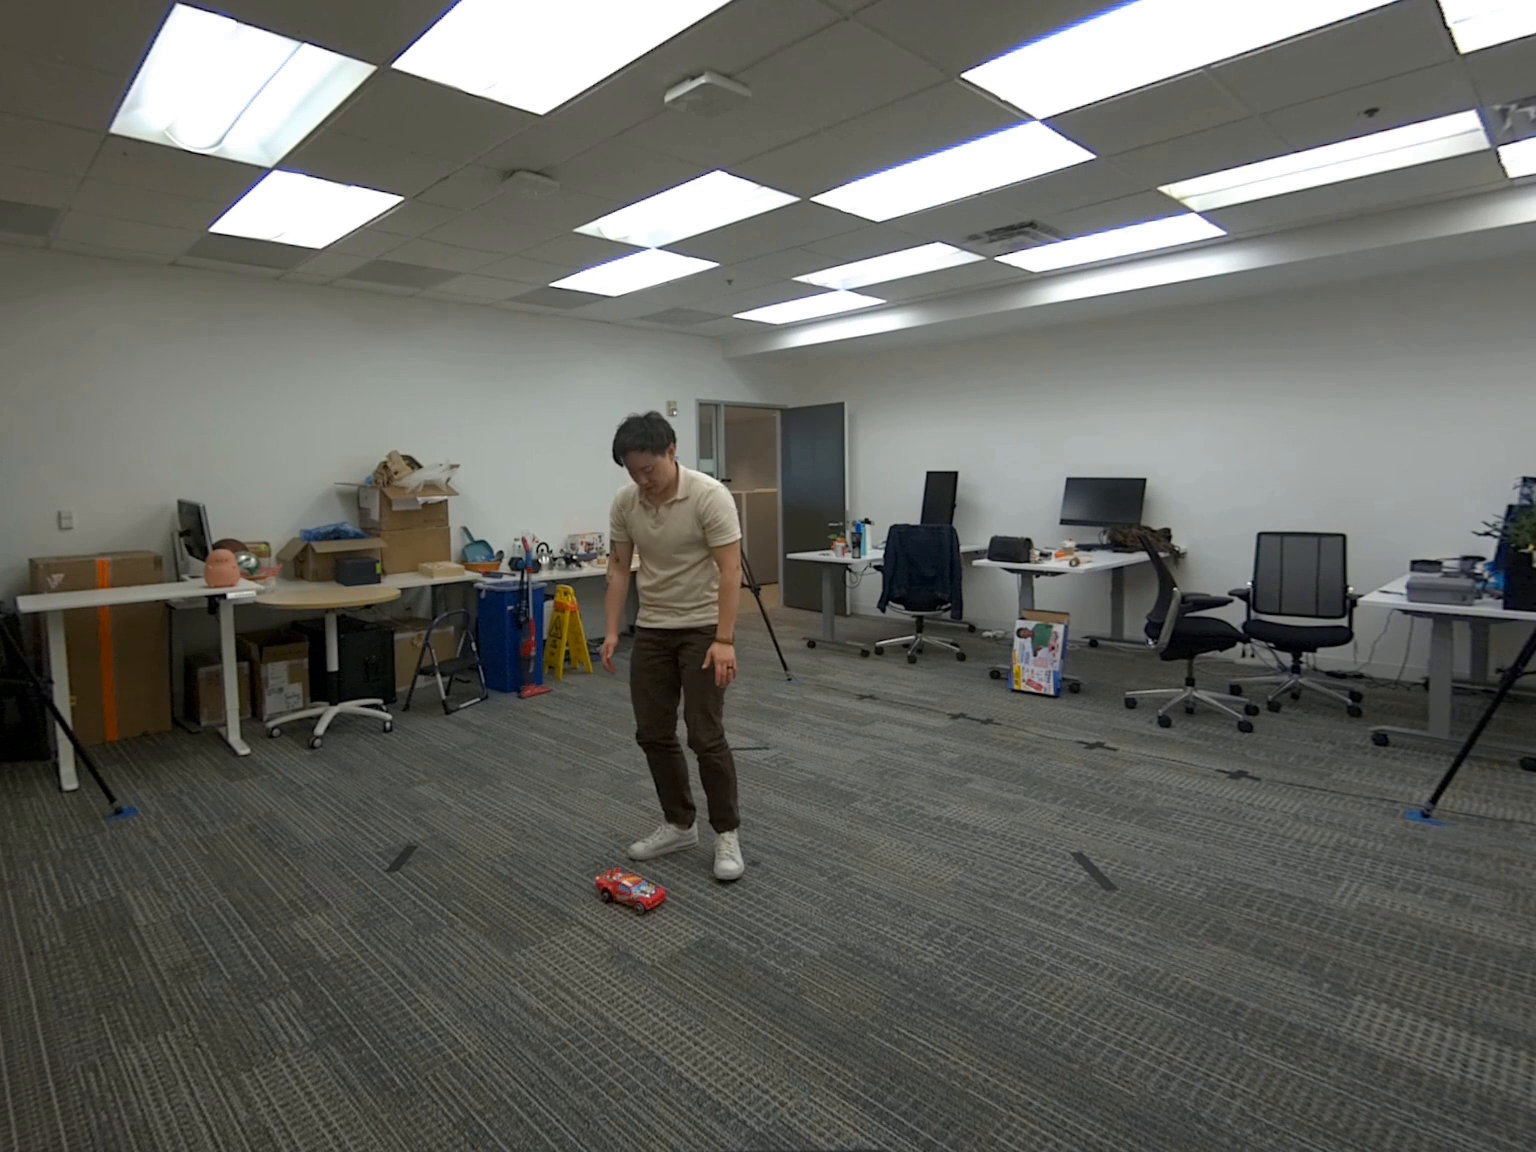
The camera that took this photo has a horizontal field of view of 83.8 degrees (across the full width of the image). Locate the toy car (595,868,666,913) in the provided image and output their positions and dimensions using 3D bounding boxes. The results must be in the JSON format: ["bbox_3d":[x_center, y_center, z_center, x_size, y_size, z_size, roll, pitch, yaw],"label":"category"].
[{"bbox_3d":[-0.463,1.052,2.844,0.263,0.082,0.127,16,15,33],"label":"toy car"}]
